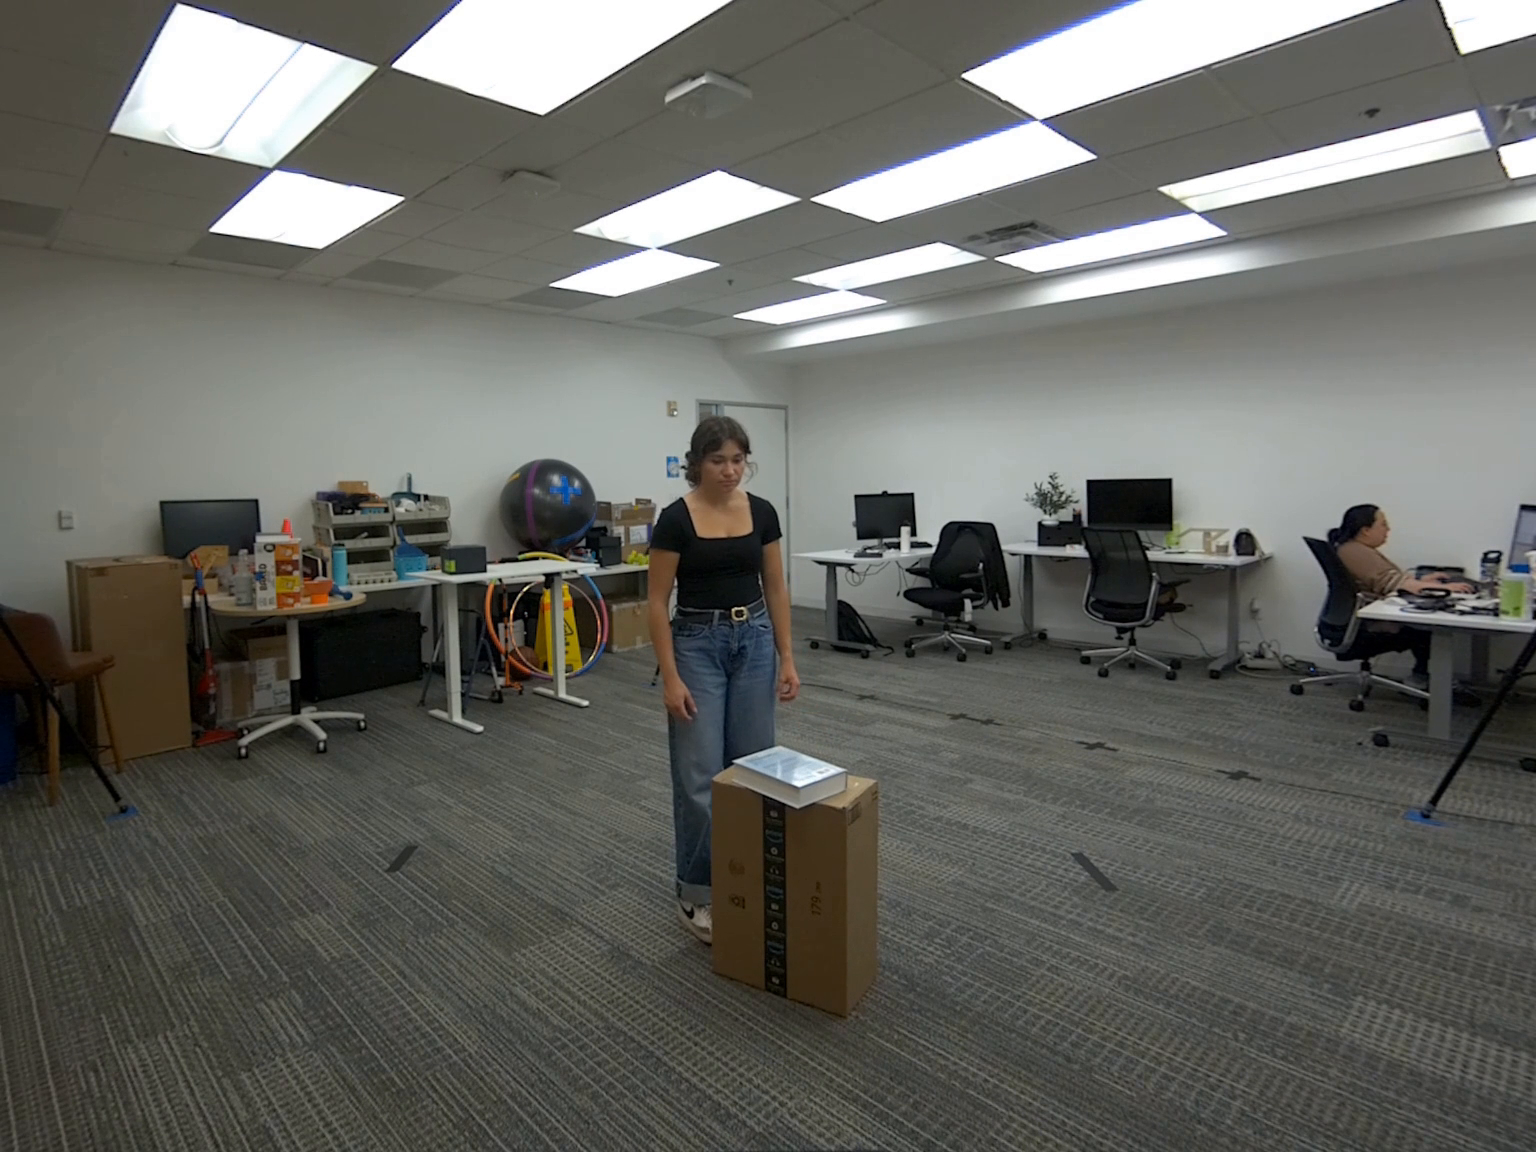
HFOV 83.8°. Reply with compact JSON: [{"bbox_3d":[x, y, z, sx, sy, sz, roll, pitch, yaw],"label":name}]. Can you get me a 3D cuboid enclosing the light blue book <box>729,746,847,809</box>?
[{"bbox_3d":[0.058,0.542,2.331,0.187,0.058,0.269,-10,12,-42],"label":"light blue book"}]
